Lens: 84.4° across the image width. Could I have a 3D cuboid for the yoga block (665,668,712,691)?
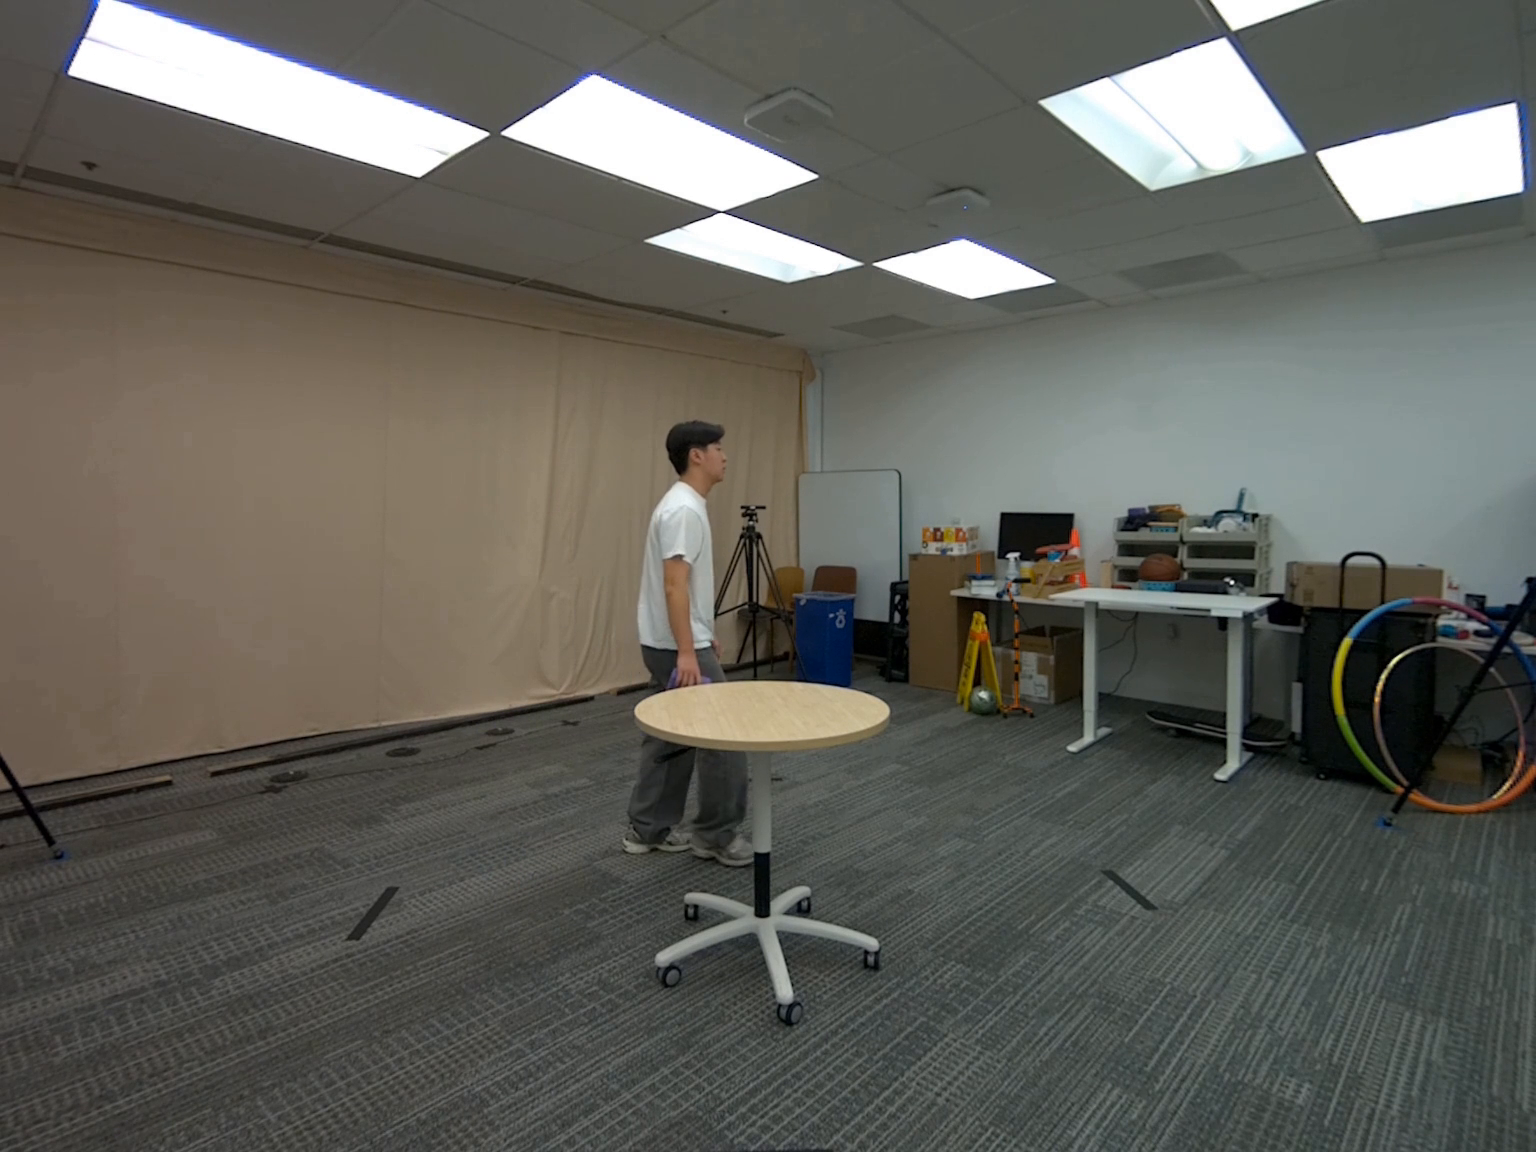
[{"bbox_3d":[-0.303,0.466,3.104,0.147,0.227,0.078,6,17,-8],"label":"yoga block"}]
